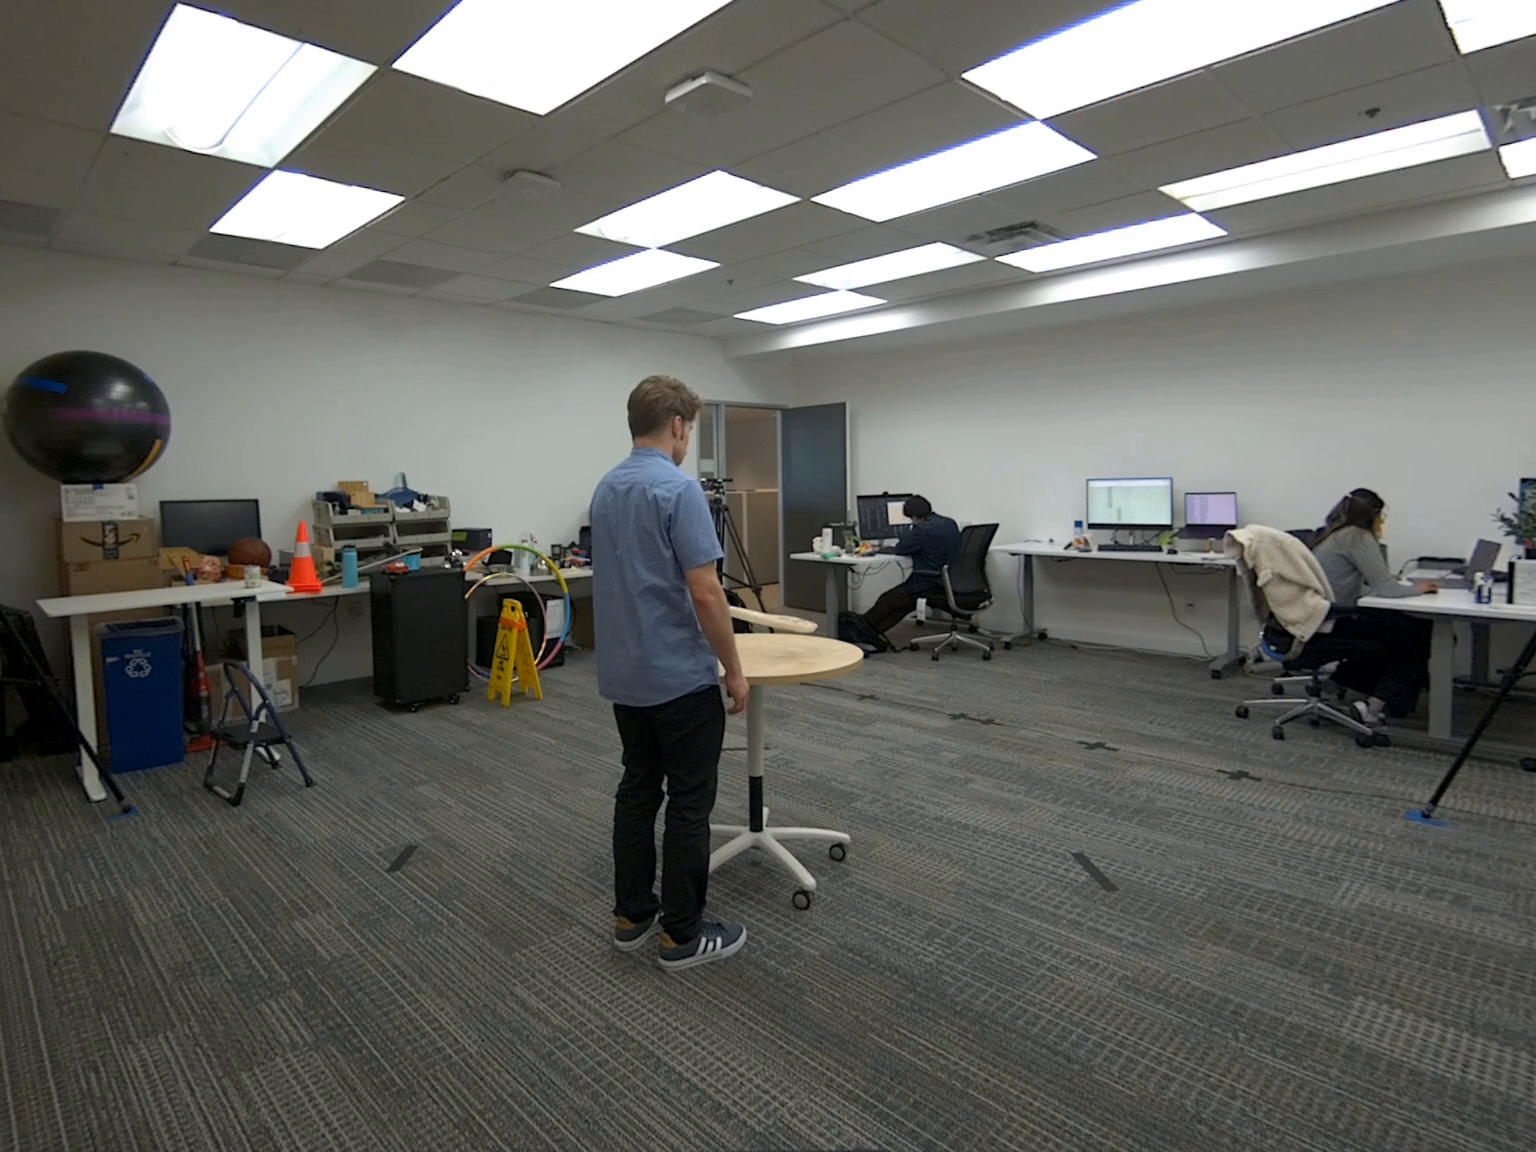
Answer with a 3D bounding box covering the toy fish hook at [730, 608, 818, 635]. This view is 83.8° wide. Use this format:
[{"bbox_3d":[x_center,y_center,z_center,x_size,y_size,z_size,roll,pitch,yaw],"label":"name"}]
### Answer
[{"bbox_3d":[-0.078,0.128,3.036,0.512,0.048,0.222,10,-1,9],"label":"toy fish hook"}]
